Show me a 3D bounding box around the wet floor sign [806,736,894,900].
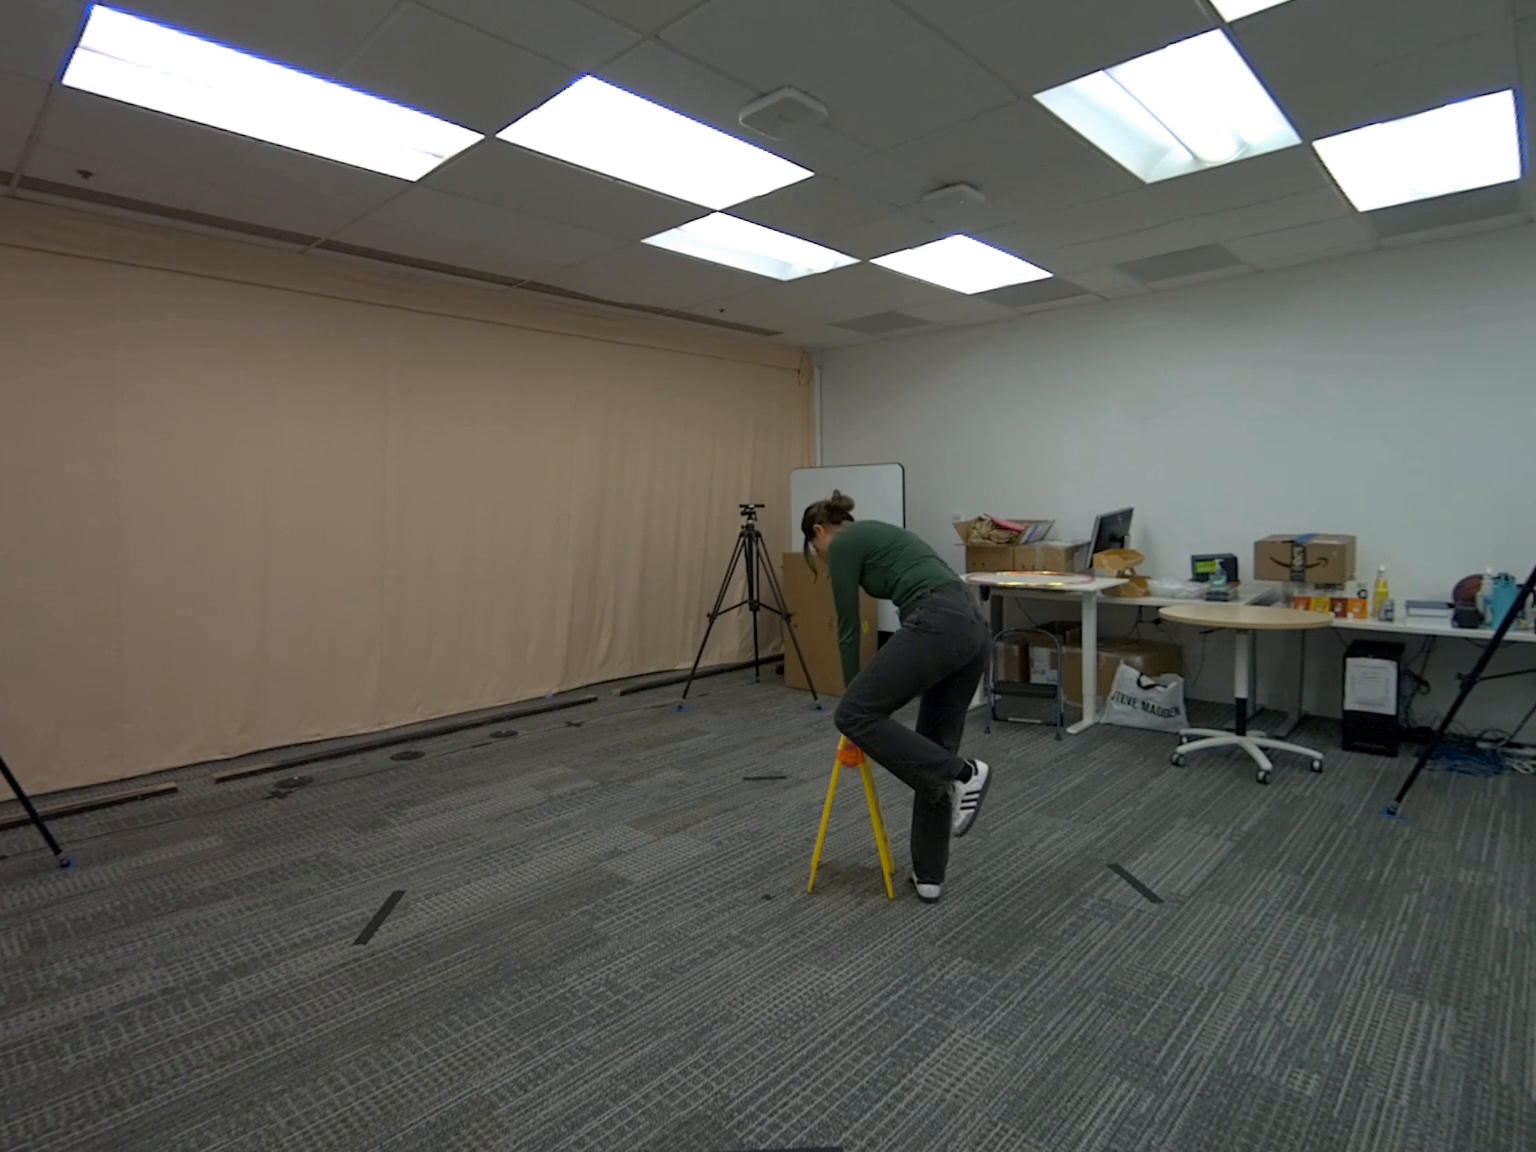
[{"bbox_3d":[0.303,0.801,3.095,0.293,0.645,0.279,-1,3,10],"label":"wet floor sign"}]
